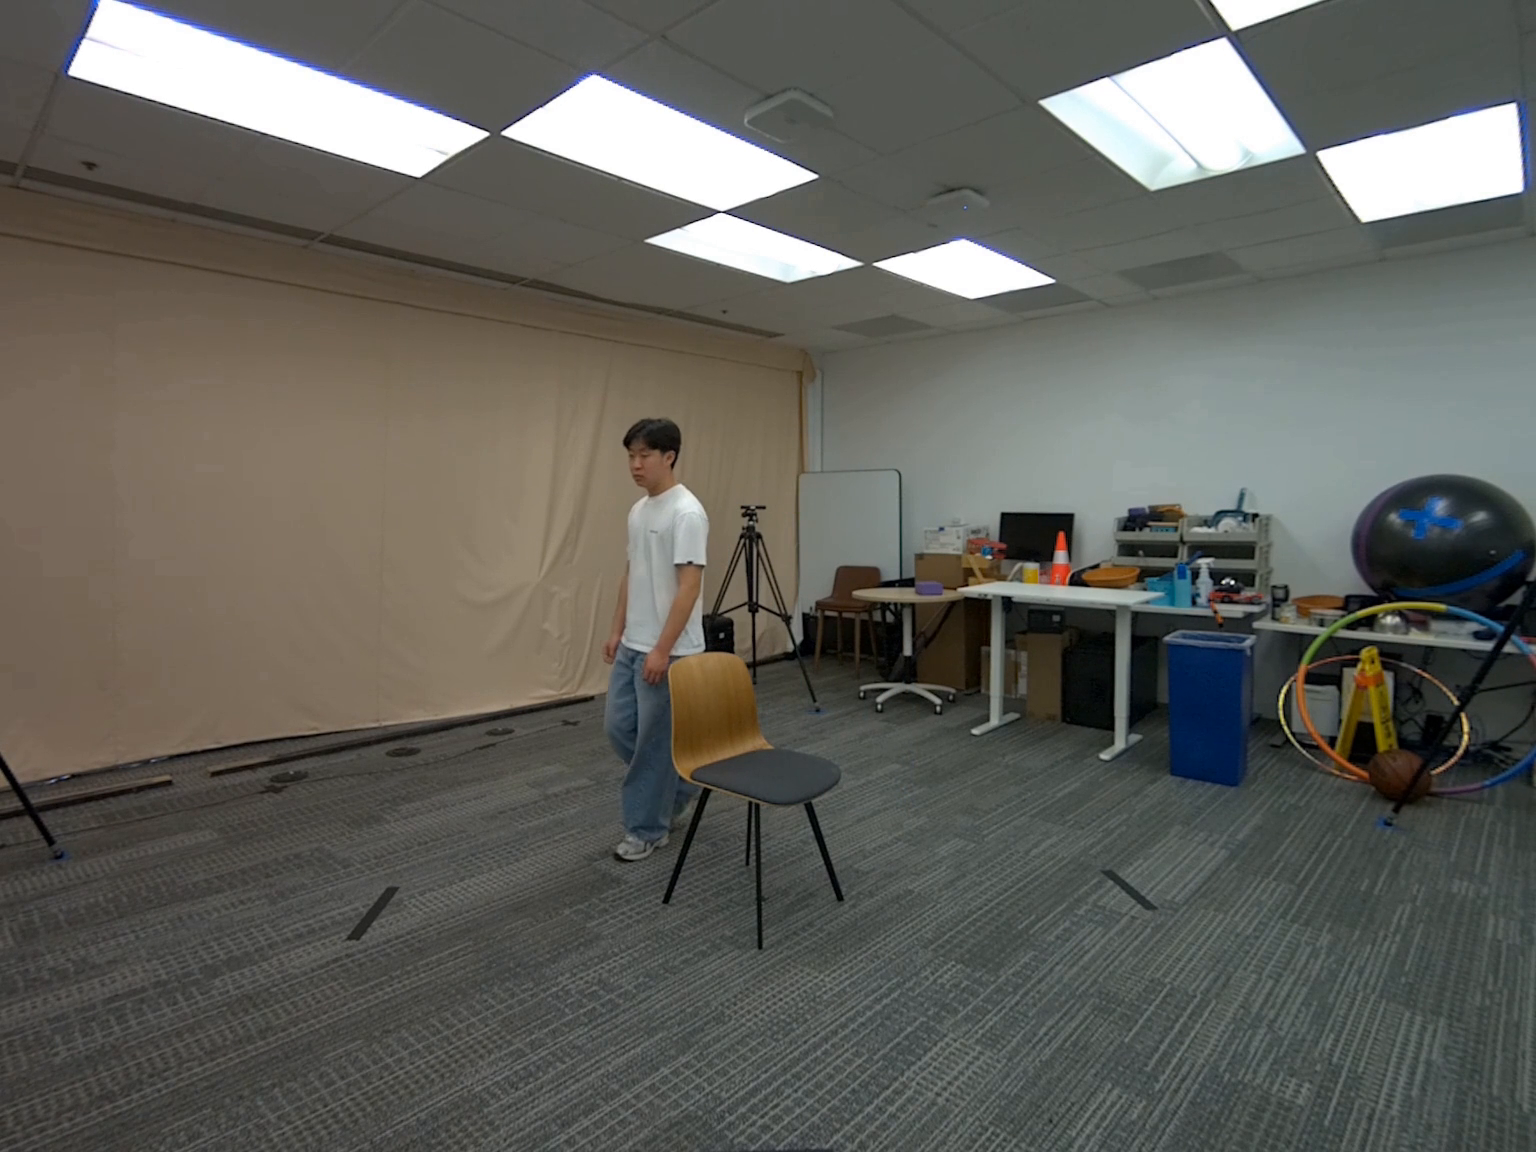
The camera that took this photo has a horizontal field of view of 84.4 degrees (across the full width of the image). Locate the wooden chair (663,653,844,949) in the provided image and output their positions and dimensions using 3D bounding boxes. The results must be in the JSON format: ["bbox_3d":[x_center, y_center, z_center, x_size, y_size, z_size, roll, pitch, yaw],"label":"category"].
[{"bbox_3d":[-0.039,0.724,2.918,0.539,0.877,0.463,-3,1,42],"label":"wooden chair"}]
